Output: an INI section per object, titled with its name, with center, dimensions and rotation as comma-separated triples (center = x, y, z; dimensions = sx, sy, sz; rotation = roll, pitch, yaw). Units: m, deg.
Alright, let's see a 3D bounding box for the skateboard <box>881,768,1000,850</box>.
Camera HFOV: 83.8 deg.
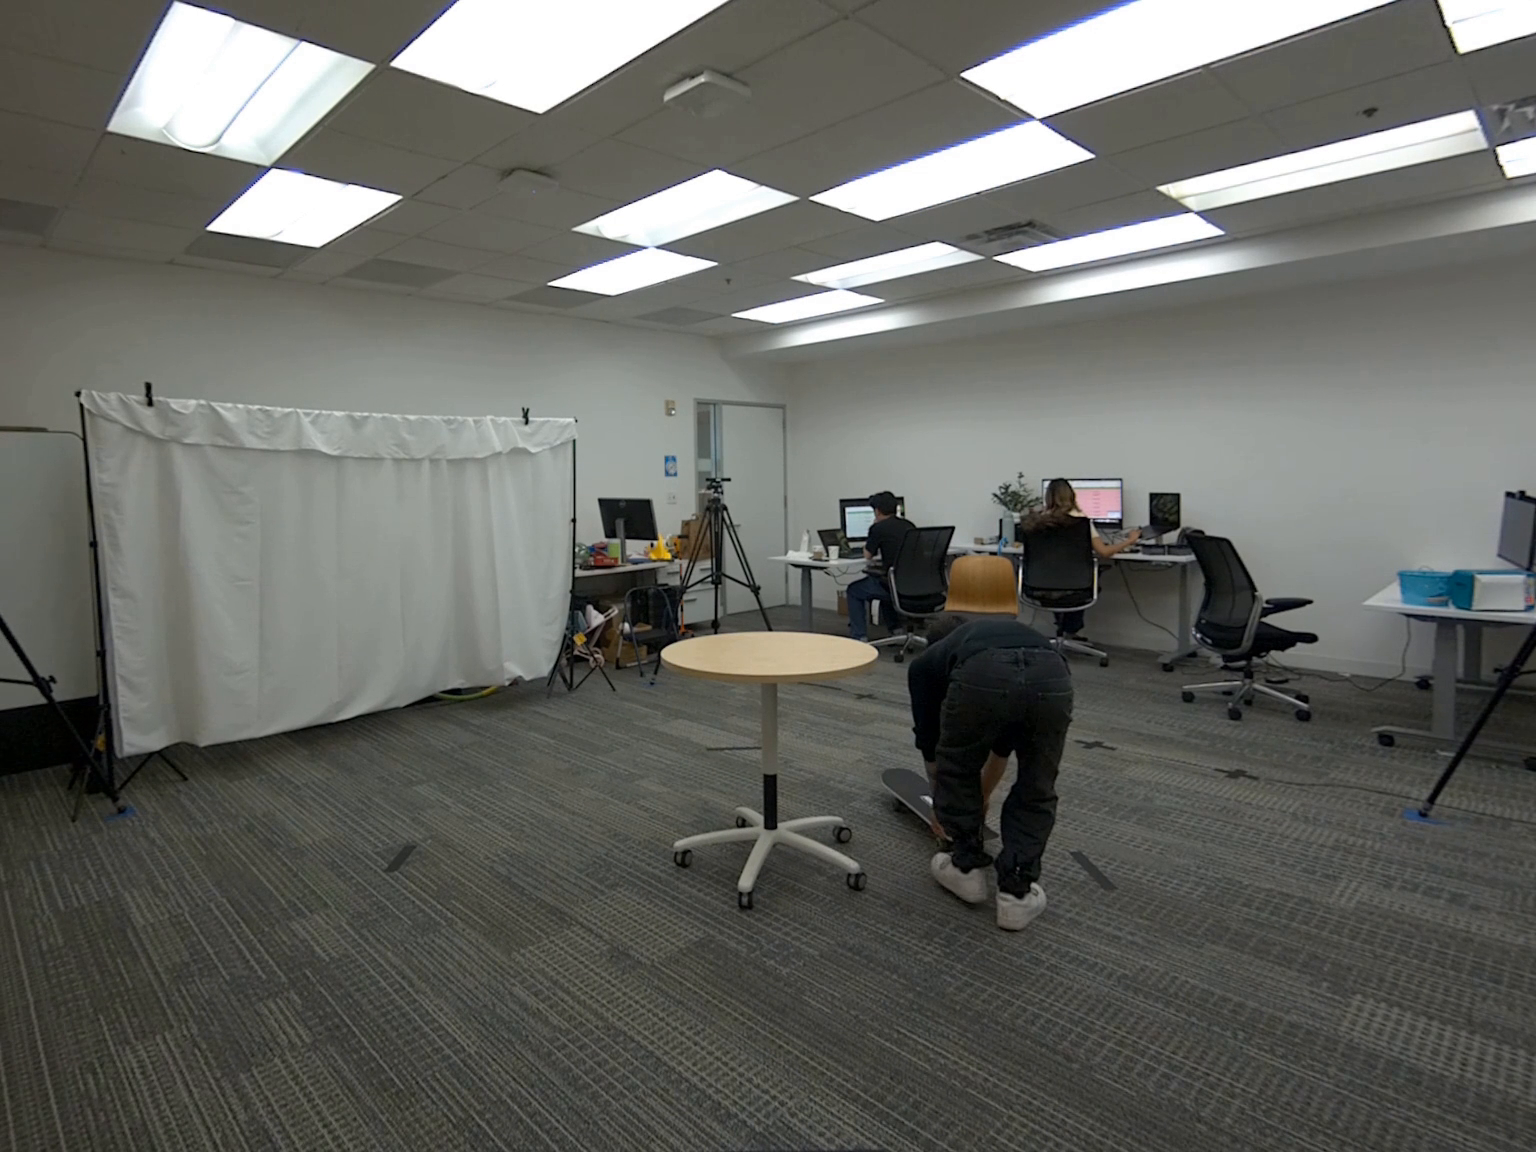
[skateboard]
center = 0.665, 0.944, 3.394
dimensions = 0.191, 0.110, 0.800
rotation = -2, 7, -16
